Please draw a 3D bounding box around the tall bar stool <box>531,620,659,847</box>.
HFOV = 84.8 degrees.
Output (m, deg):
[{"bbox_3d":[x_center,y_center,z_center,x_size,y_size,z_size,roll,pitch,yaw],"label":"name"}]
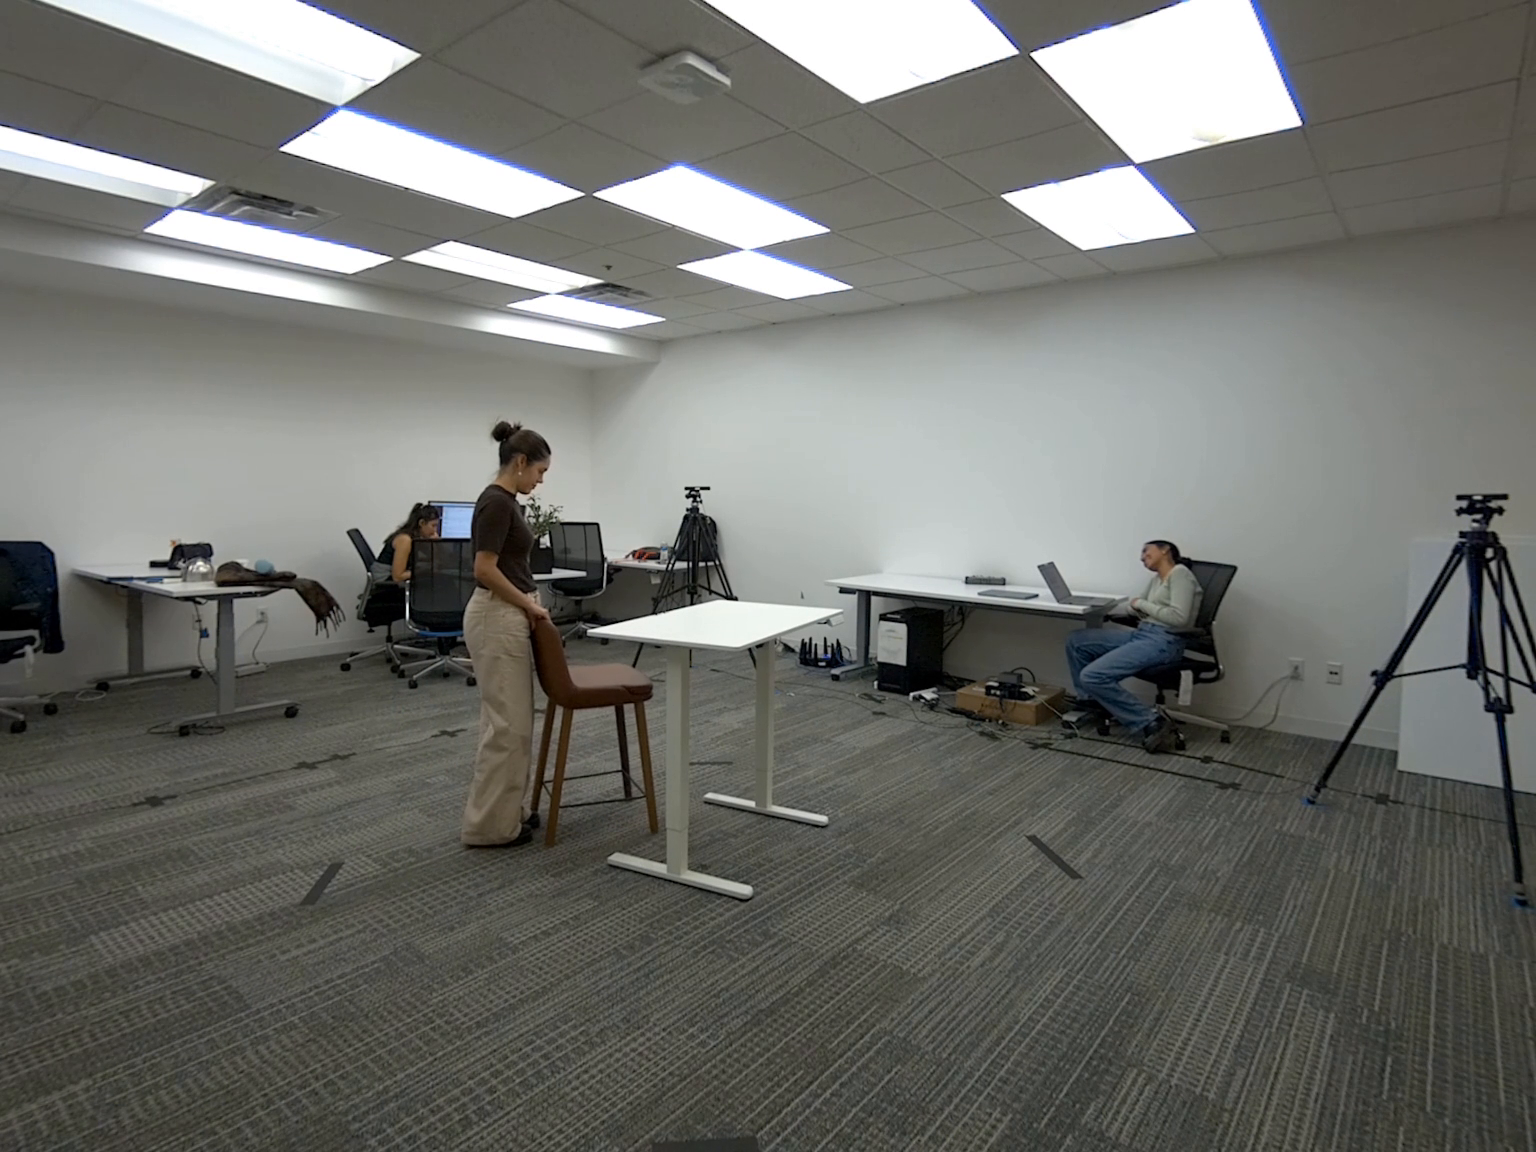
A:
[{"bbox_3d":[-0.747,0.585,3.496,0.458,0.887,0.468,-3,4,-23],"label":"tall bar stool"}]
